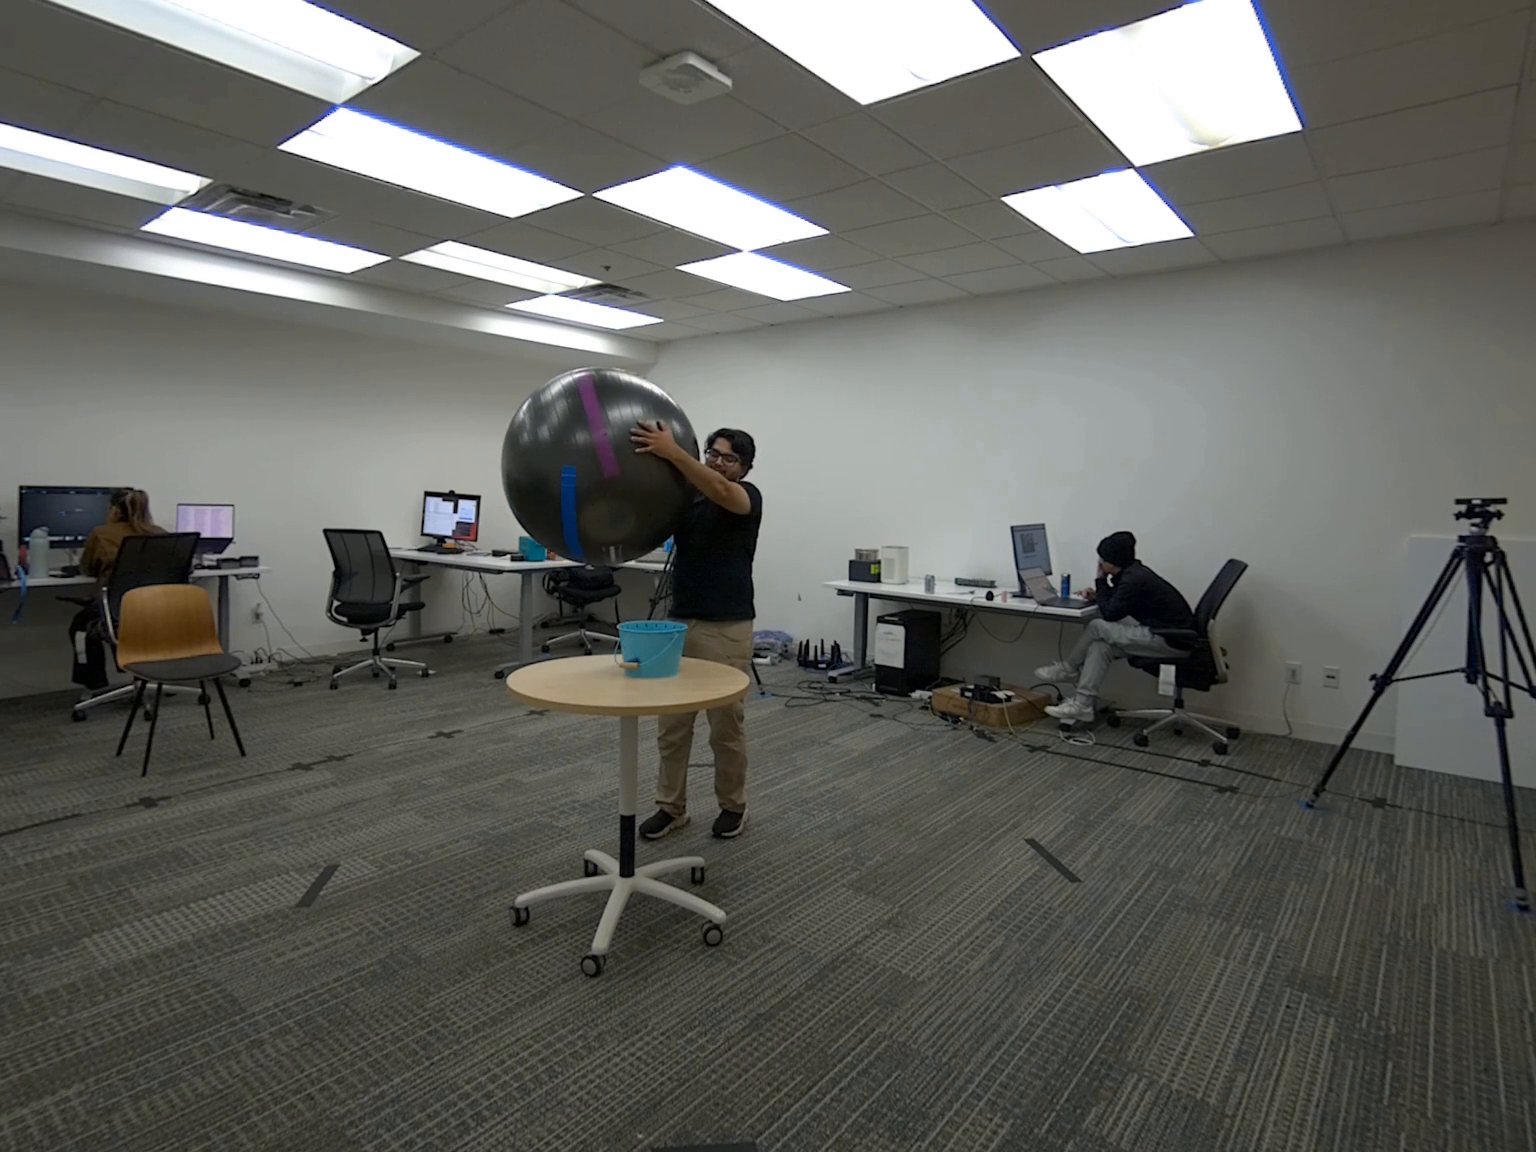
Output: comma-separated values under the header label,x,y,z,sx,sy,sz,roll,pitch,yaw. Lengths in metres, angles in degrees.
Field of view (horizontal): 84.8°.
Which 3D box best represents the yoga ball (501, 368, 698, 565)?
label,x,y,z,sx,sy,sz,roll,pitch,yaw
yoga ball,-0.657,-0.413,3.280,0.757,0.755,0.762,1,4,-2
